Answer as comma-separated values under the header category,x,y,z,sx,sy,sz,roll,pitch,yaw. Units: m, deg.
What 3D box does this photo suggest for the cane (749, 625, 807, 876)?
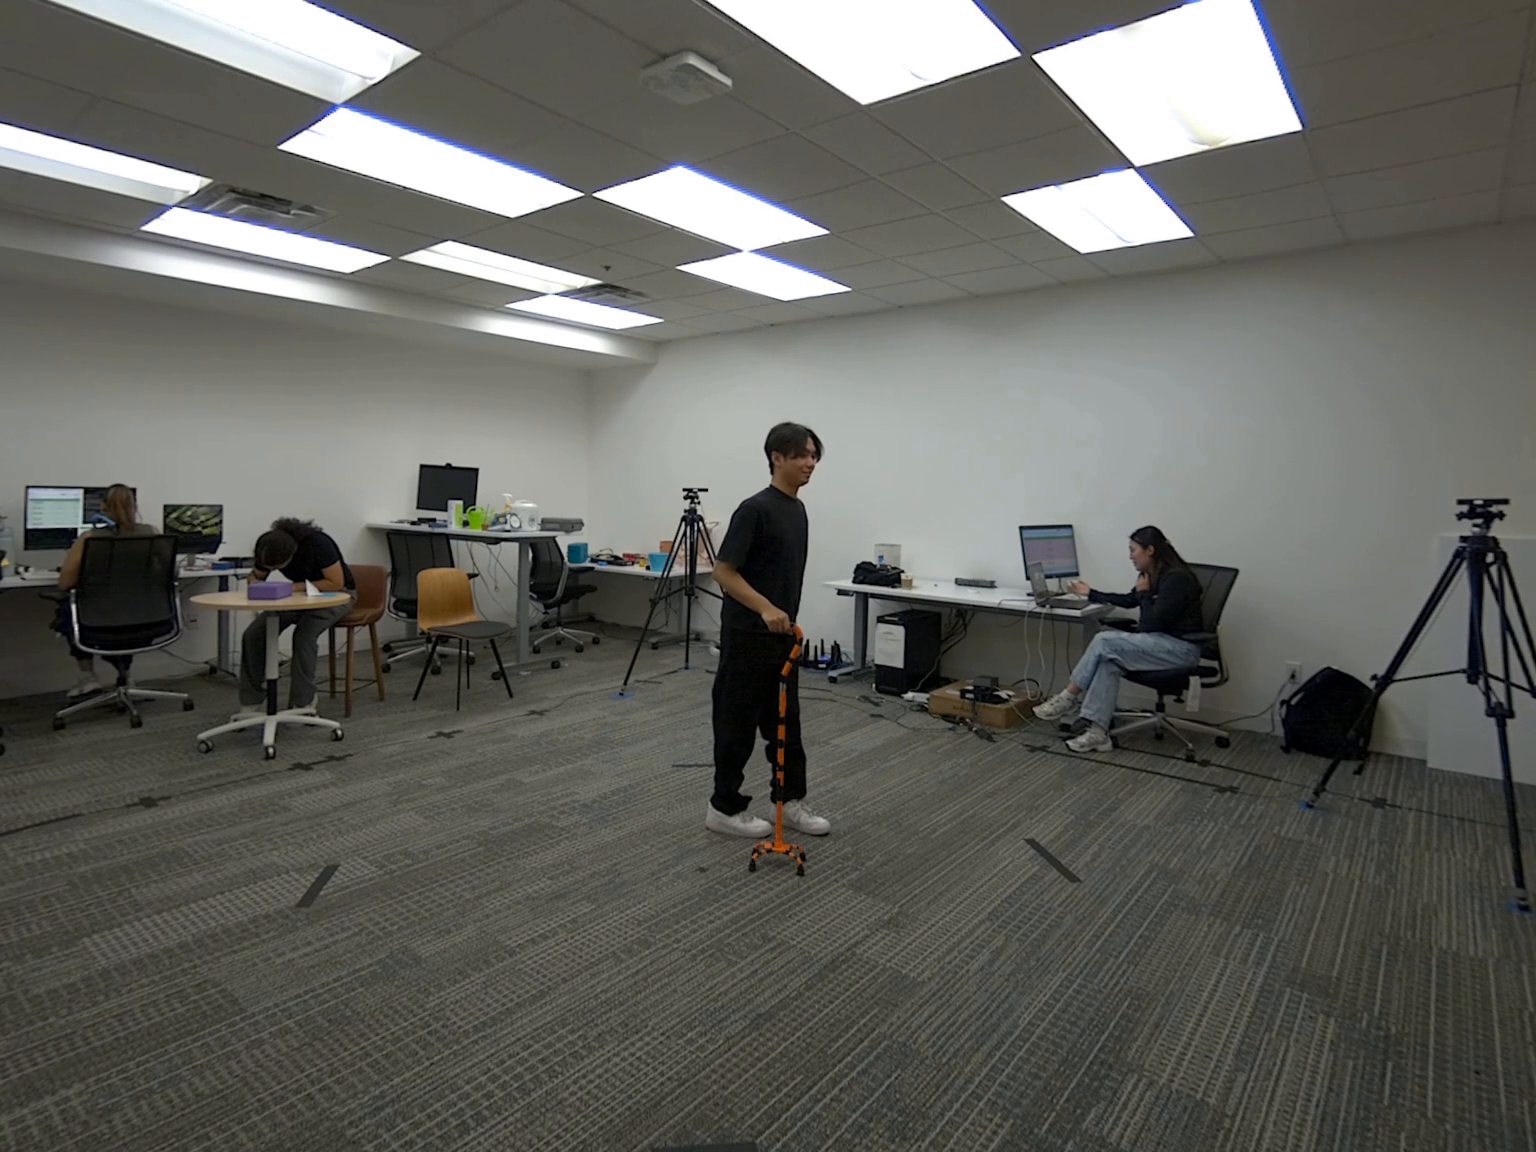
category,x,y,z,sx,sy,sz,roll,pitch,yaw
cane,0.046,0.623,3.140,0.208,0.906,0.151,4,2,6
